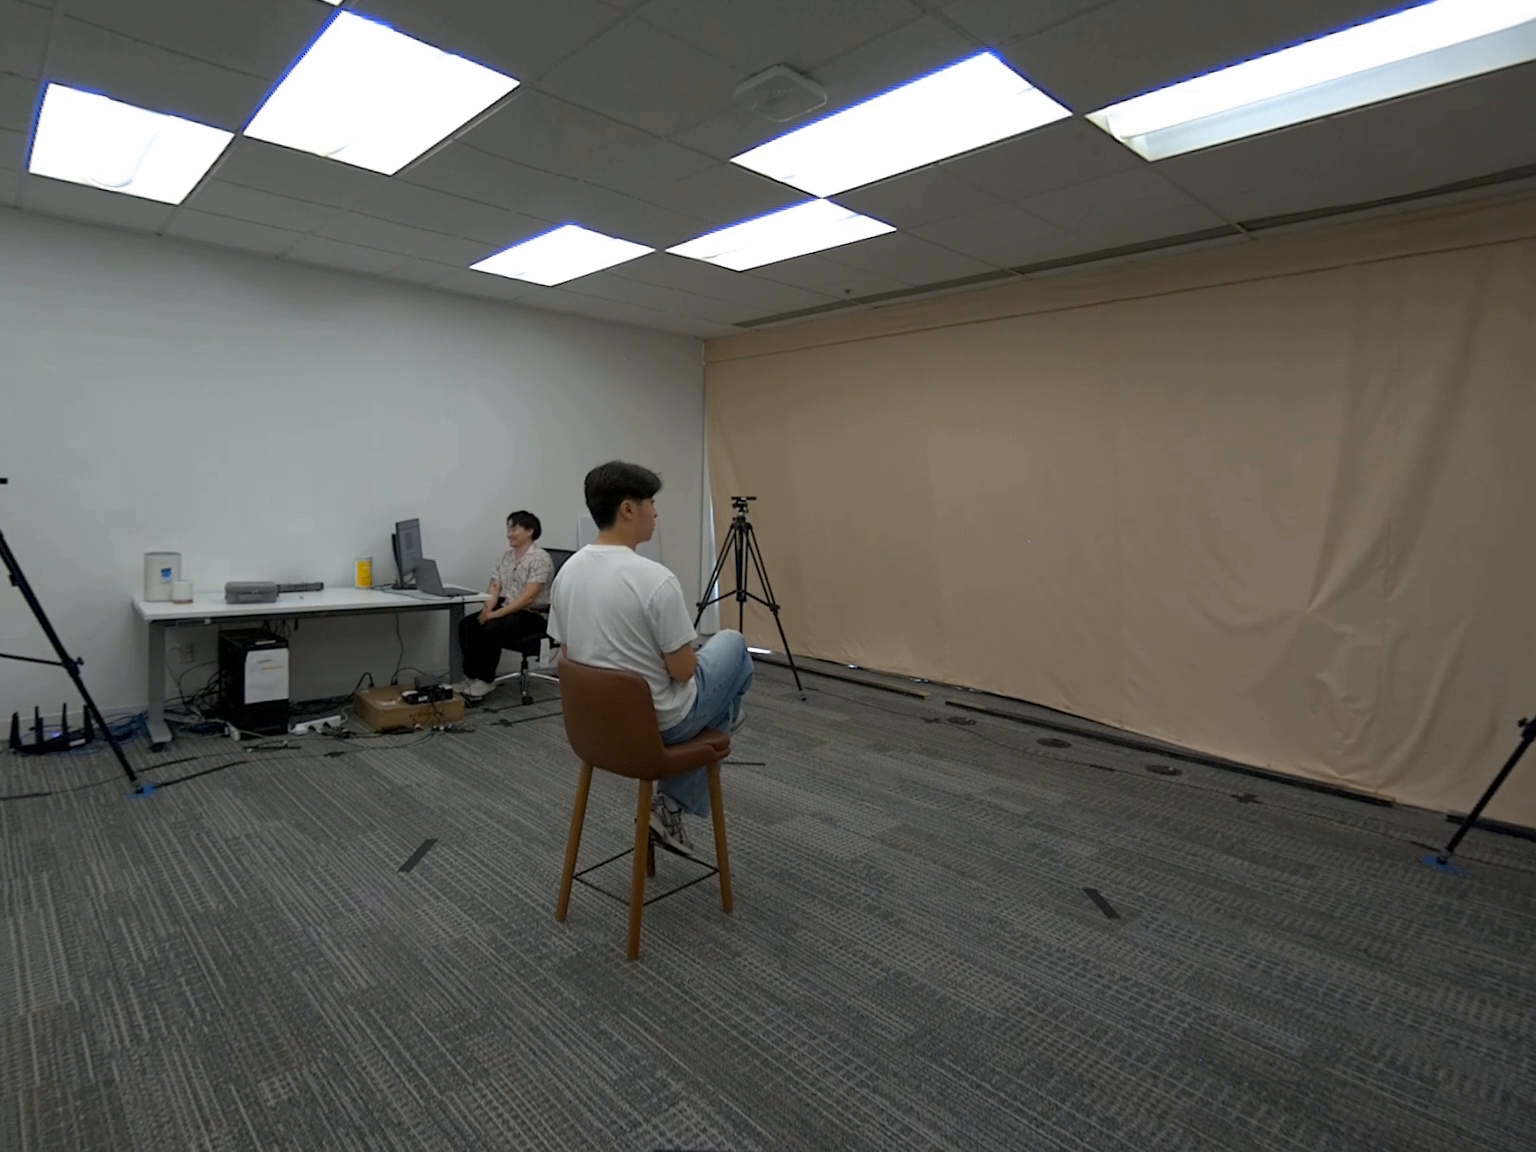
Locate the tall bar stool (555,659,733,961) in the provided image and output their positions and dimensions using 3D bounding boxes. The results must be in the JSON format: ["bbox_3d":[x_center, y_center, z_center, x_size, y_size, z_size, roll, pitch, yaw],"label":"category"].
[{"bbox_3d":[-0.420,0.699,2.772,0.468,0.887,0.458,3,6,40],"label":"tall bar stool"}]
